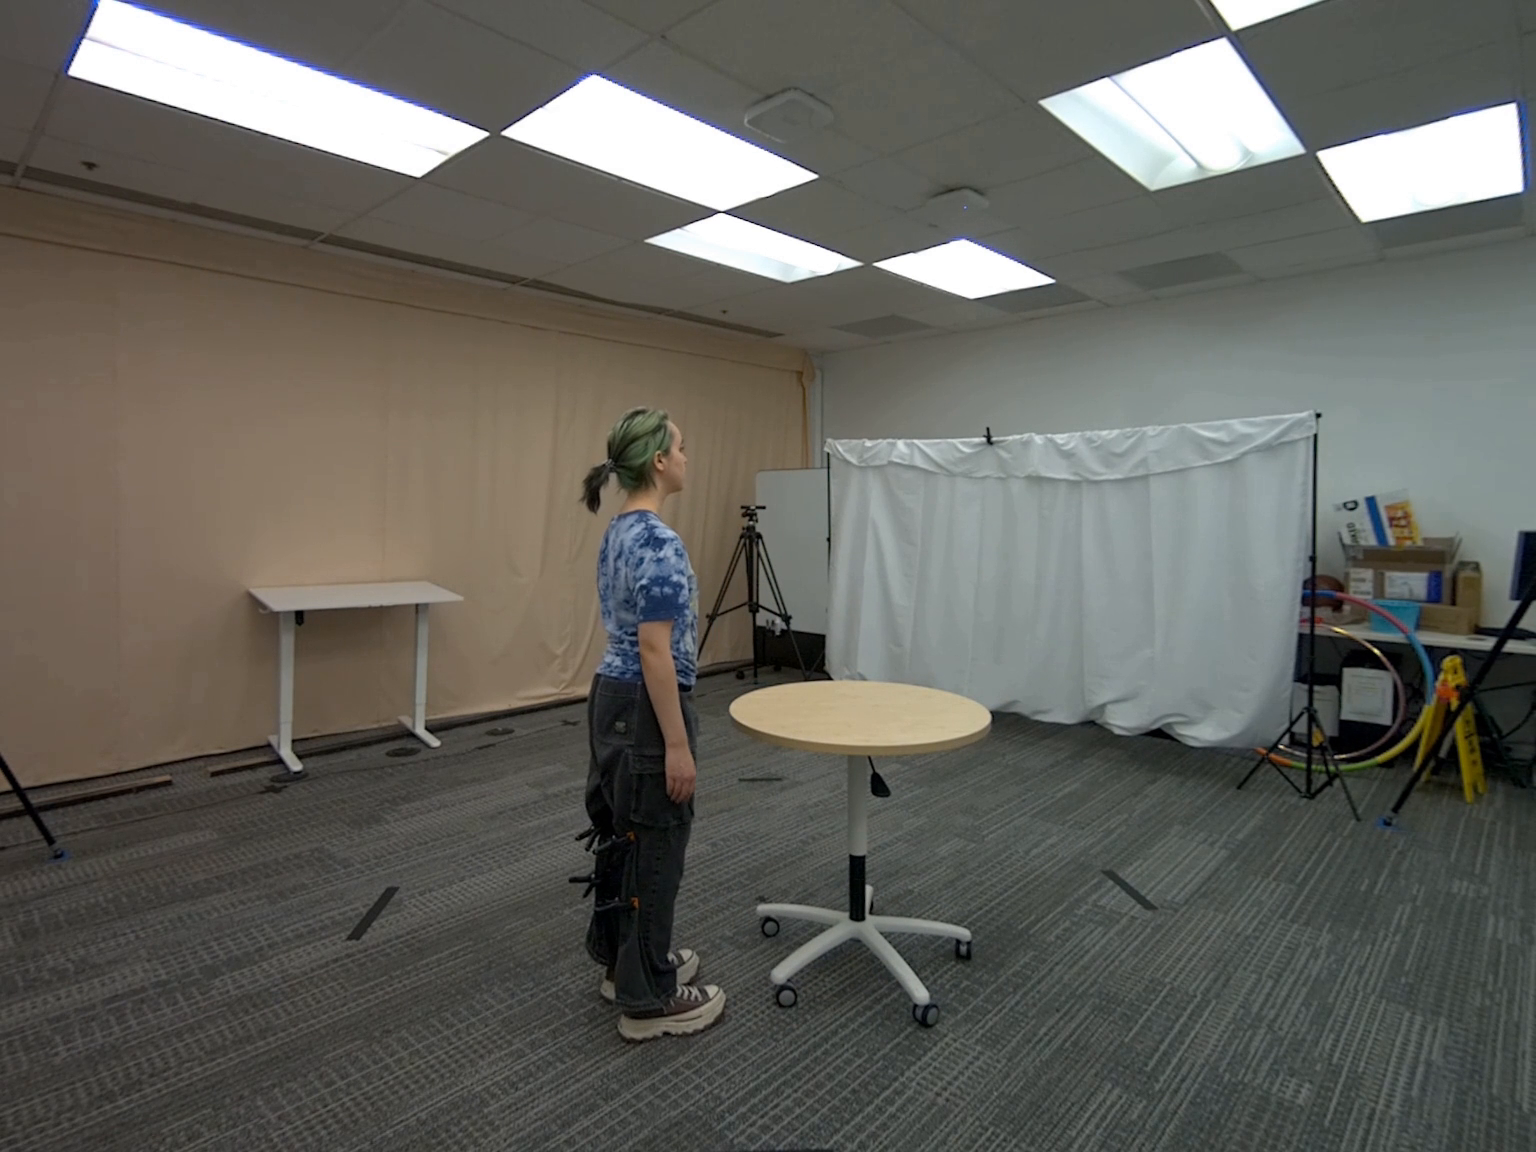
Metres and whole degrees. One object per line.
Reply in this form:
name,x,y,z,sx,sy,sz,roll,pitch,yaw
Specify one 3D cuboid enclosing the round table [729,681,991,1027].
round table,0.276,0.789,2.551,0.763,0.792,0.767,0,4,-2
